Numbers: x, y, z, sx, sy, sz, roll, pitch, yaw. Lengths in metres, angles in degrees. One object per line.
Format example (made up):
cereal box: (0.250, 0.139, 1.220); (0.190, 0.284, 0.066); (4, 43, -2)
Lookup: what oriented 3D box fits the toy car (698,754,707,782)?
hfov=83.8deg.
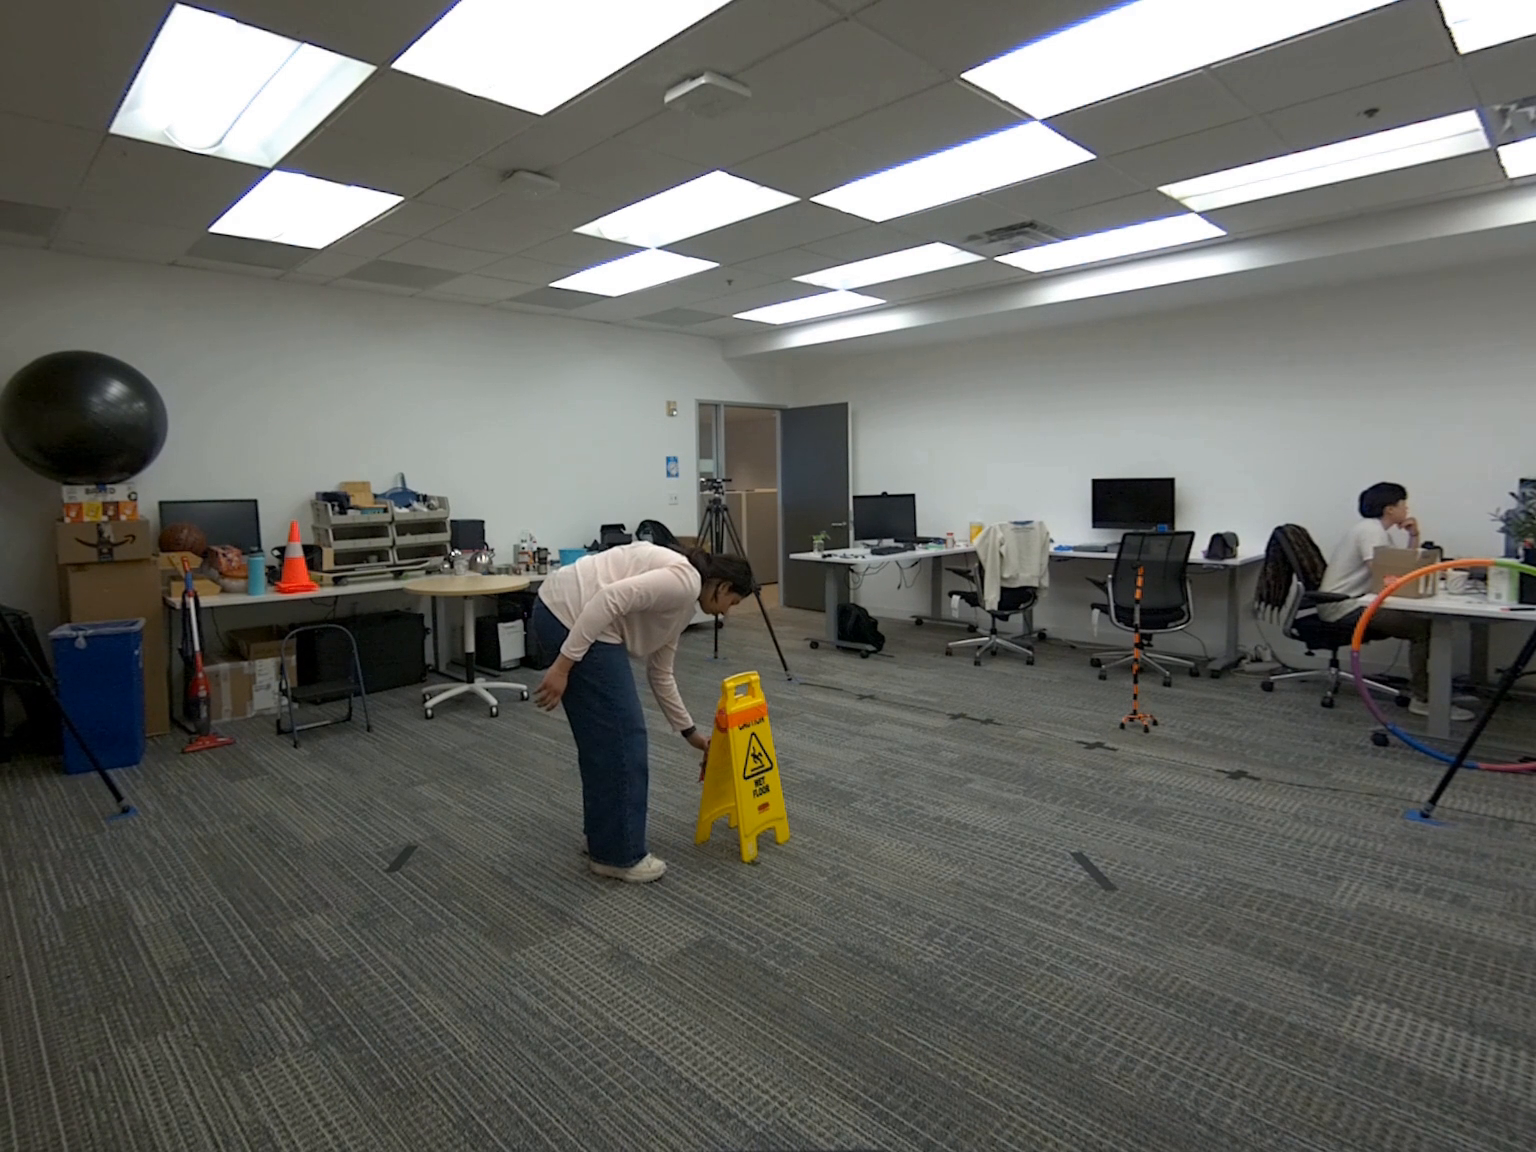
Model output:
toy car: (-0.192, 0.700, 3.325); (0.086, 0.254, 0.126); (35, 11, 35)
